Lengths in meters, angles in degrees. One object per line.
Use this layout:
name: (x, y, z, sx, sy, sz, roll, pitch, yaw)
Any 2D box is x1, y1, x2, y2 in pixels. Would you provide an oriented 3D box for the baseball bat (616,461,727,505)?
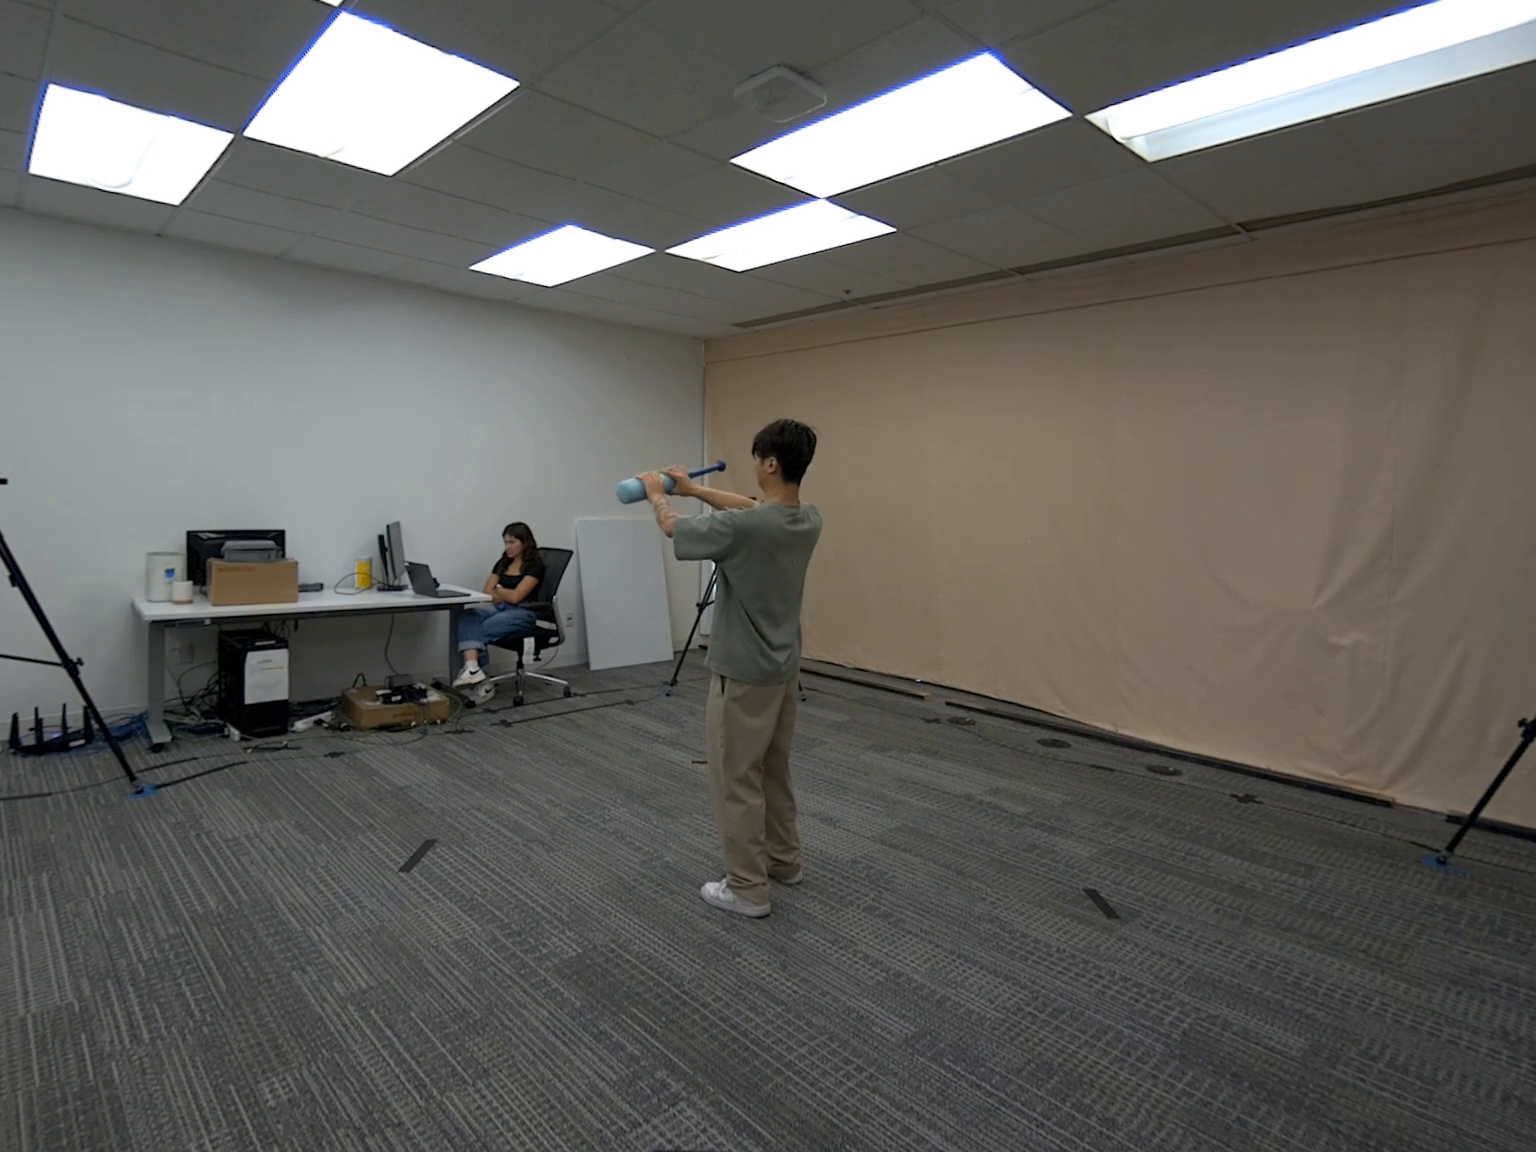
baseball bat: (-0.369, -0.379, 3.270, 0.091, 0.088, 0.535, 5, 20, 42)
